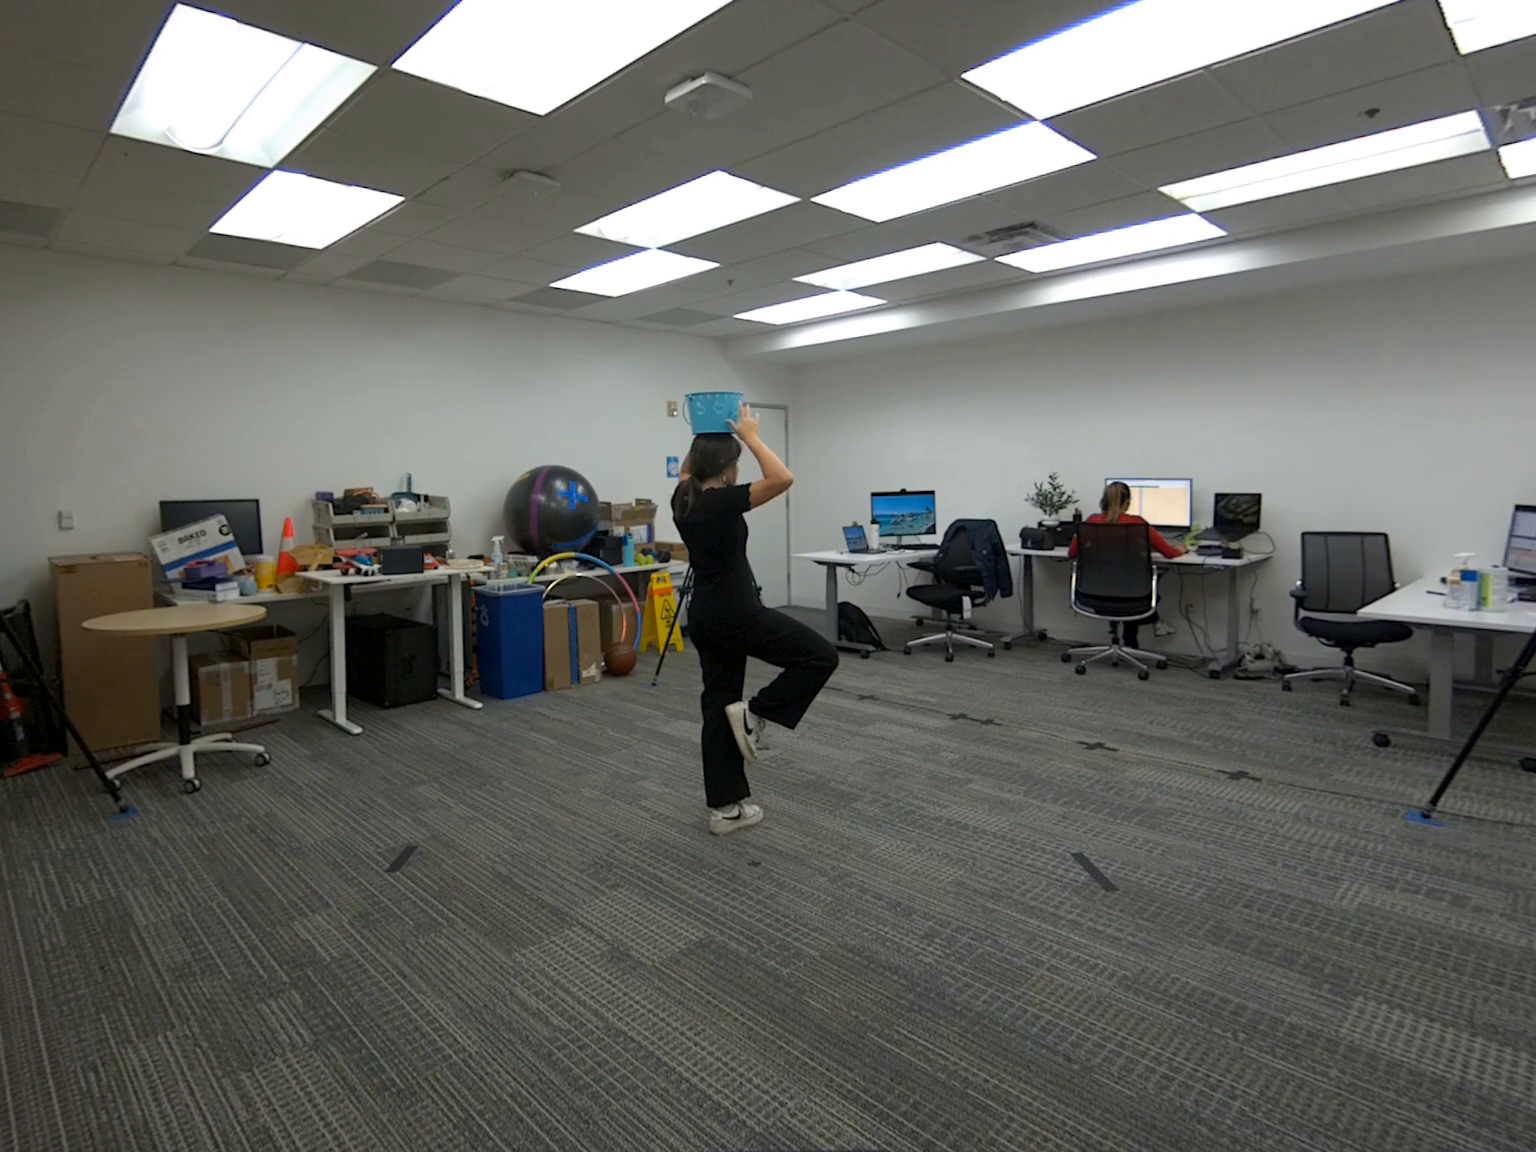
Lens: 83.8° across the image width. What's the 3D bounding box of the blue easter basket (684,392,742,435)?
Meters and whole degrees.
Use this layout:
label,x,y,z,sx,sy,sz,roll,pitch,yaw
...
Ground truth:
label,x,y,z,sx,sy,sz,roll,pitch,yaw
blue easter basket,-0.208,-0.636,3.348,0.243,0.155,0.245,-3,5,-1
